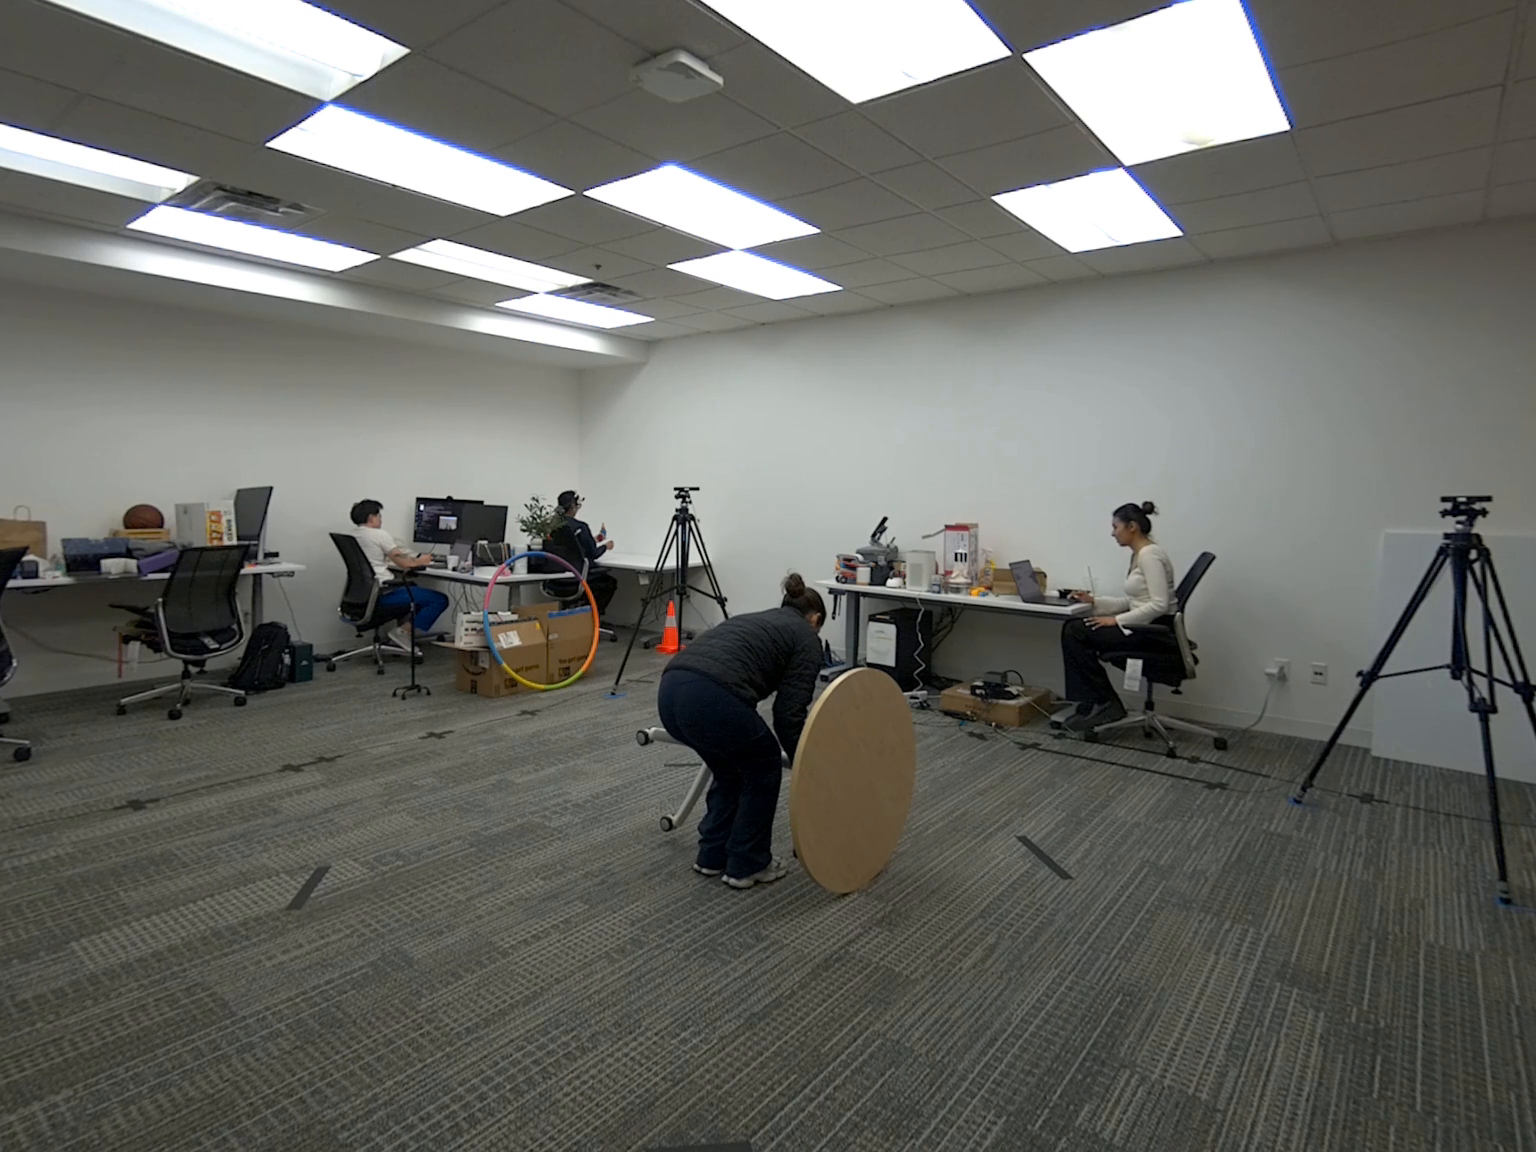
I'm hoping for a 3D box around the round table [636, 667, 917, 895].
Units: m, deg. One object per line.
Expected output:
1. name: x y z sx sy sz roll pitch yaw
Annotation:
1. round table: 0.026 0.699 3.245 0.811 0.784 0.762 0 3 40
